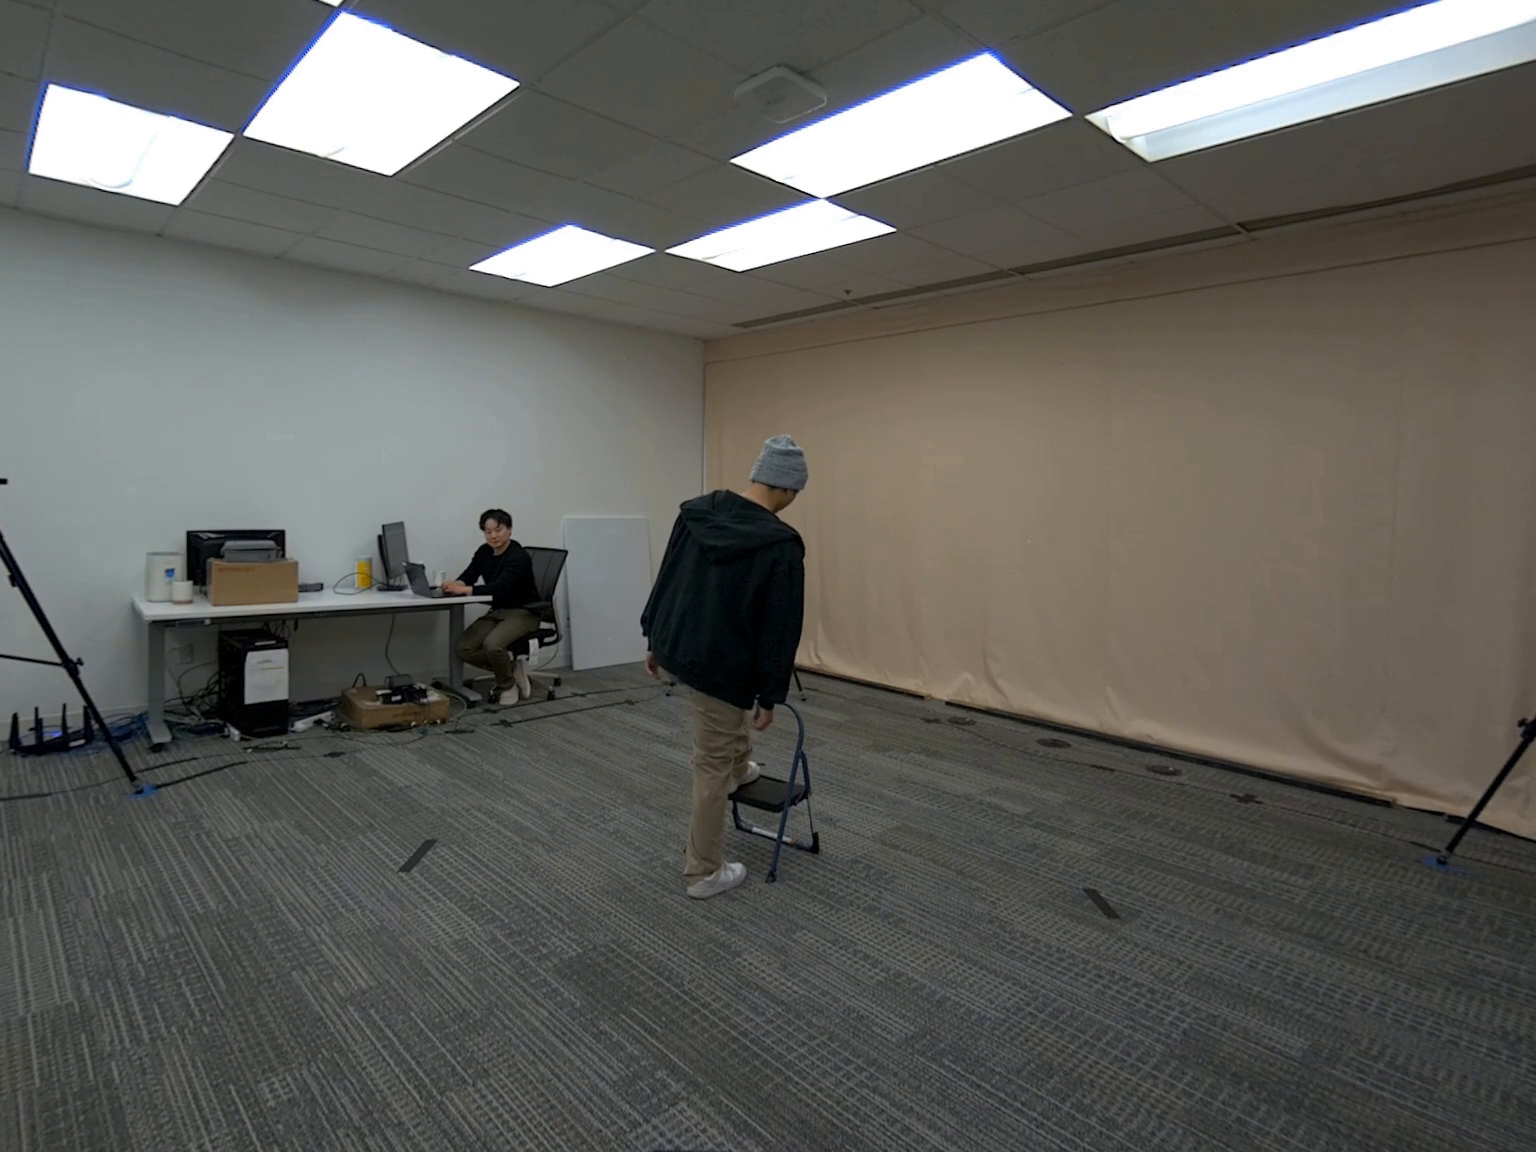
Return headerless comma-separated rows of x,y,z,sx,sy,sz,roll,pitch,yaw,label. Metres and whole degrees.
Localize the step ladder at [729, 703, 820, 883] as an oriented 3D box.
-0.055,0.790,3.307,0.441,0.605,0.341,4,4,36,step ladder
